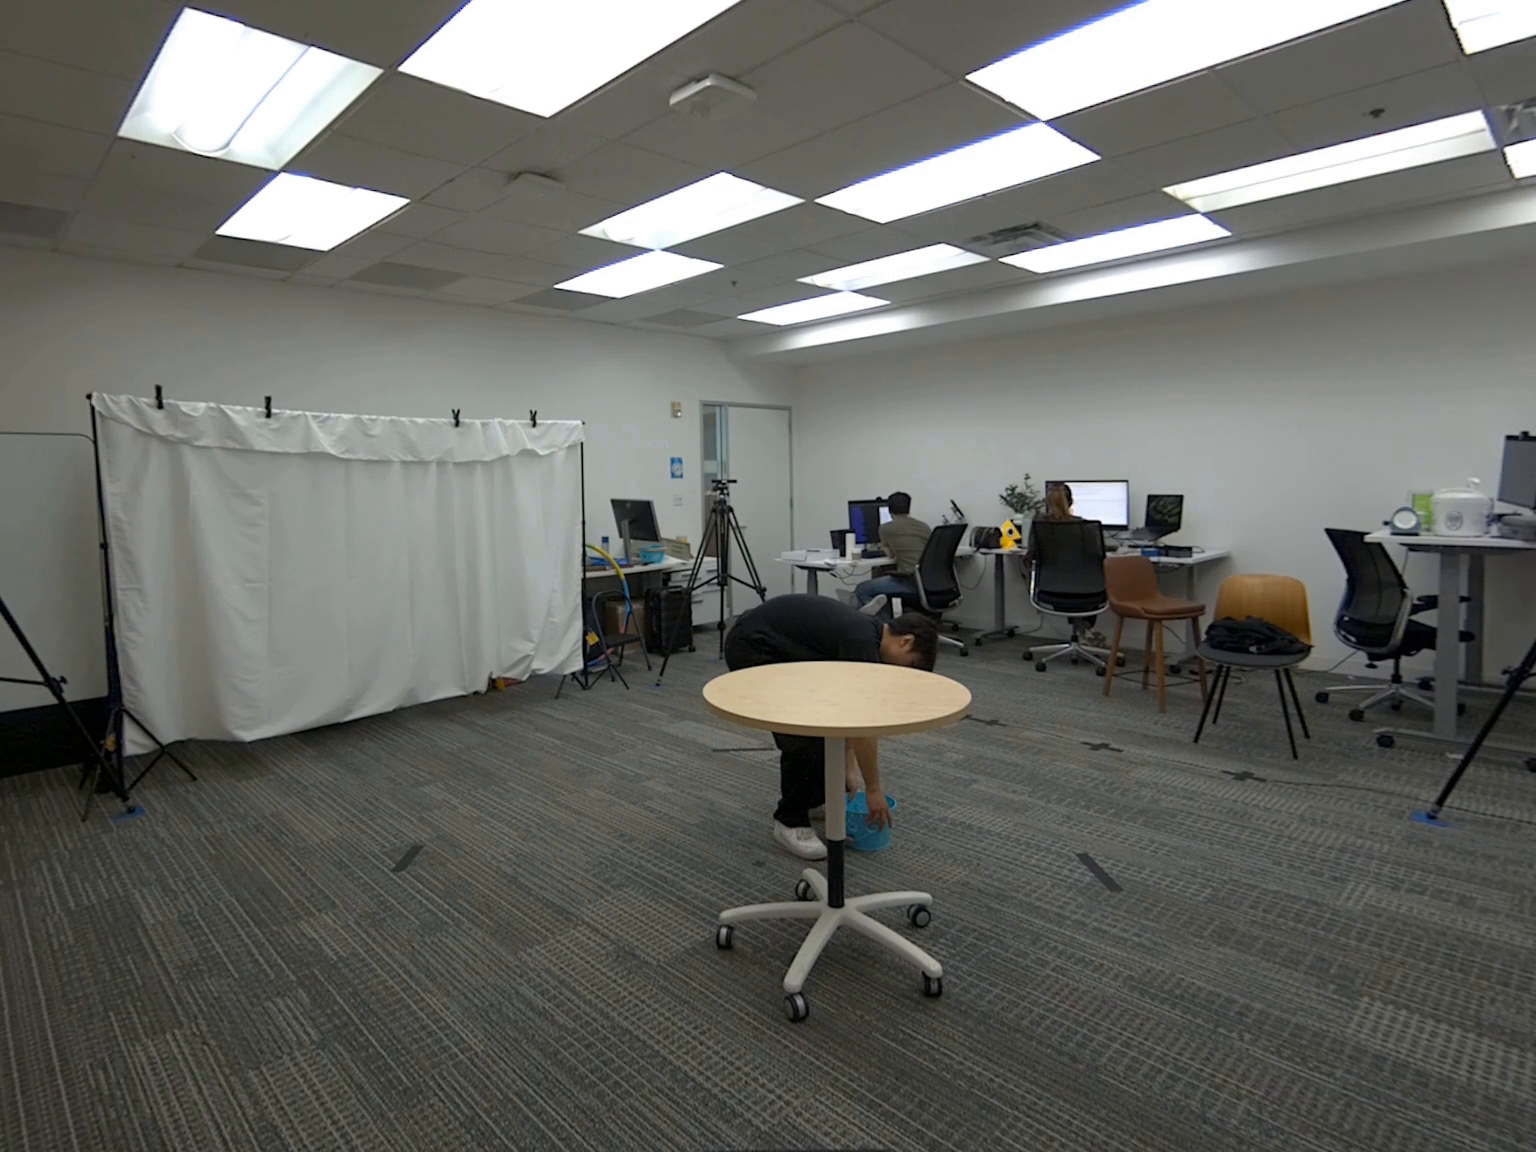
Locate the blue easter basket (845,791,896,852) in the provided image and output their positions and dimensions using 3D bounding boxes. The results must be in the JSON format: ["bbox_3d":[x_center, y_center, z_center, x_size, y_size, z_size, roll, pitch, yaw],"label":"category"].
[{"bbox_3d":[0.368,0.941,3.284,0.243,0.155,0.245,-2,5,-1],"label":"blue easter basket"}]
